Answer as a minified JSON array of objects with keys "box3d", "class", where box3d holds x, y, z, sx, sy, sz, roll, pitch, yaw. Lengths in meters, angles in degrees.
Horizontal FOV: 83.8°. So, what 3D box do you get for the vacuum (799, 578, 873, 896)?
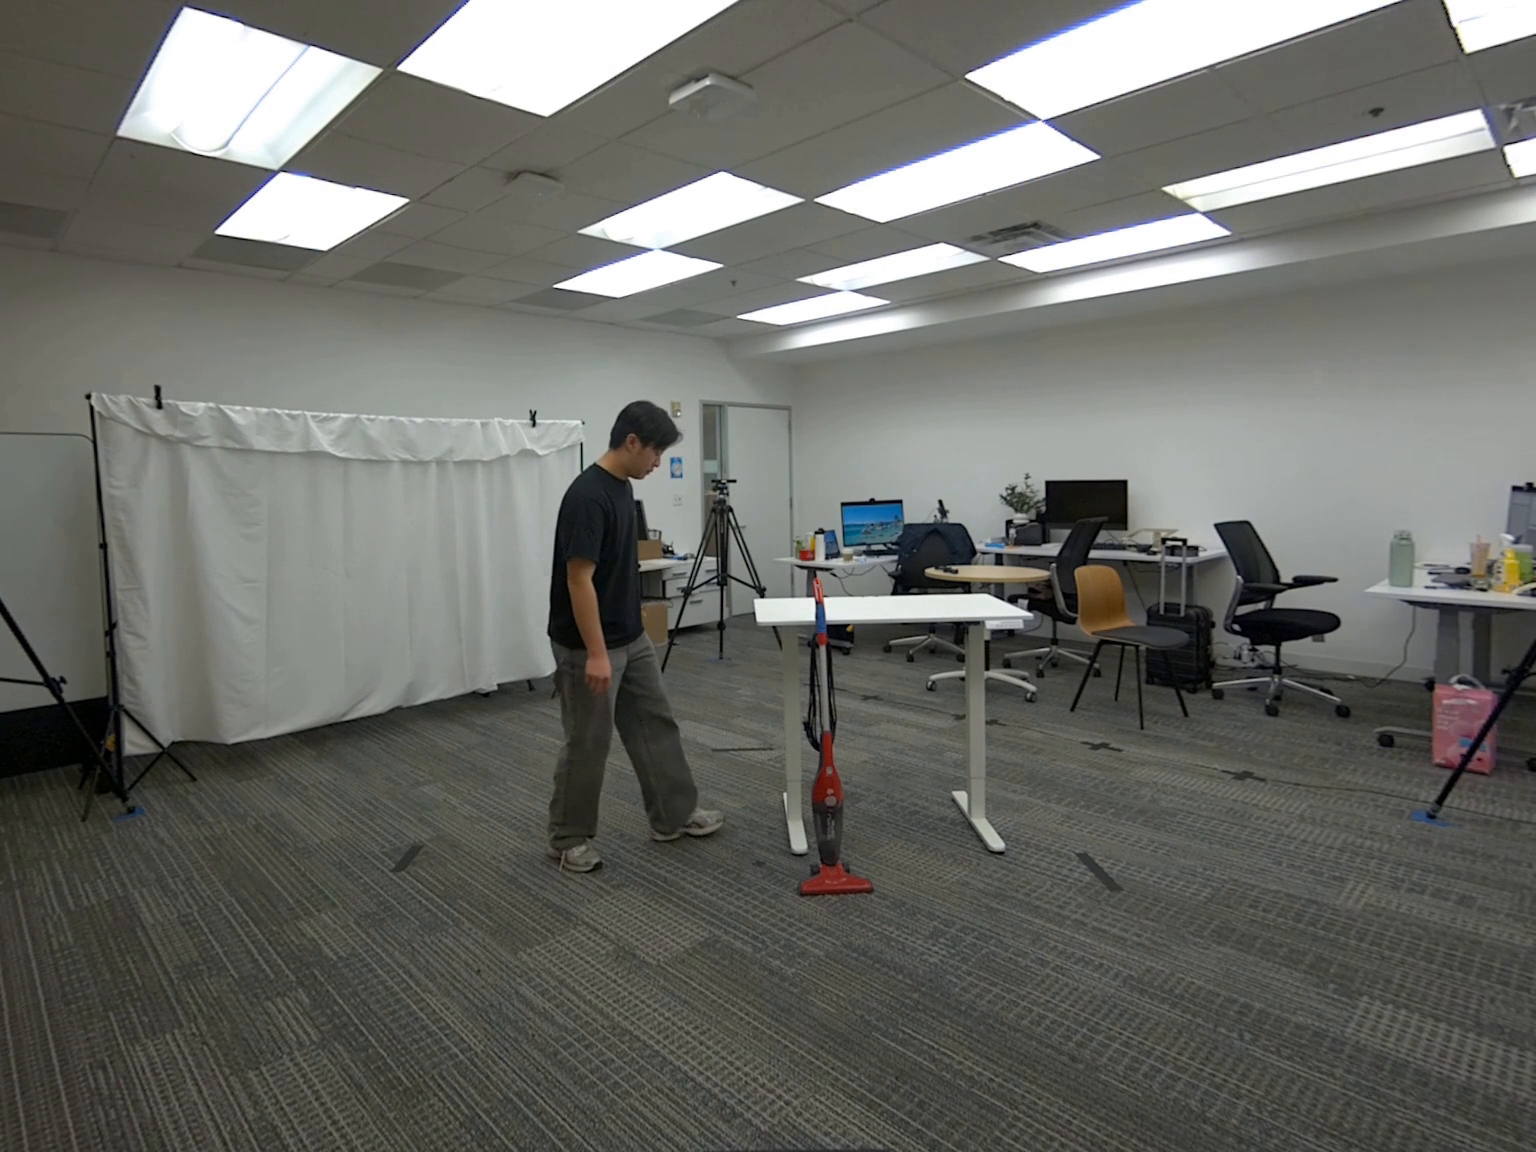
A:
[{"box3d":[0.200,0.535,3.028,0.252,1.059,0.143,-2,-10,-3],"class":"vacuum"}]
